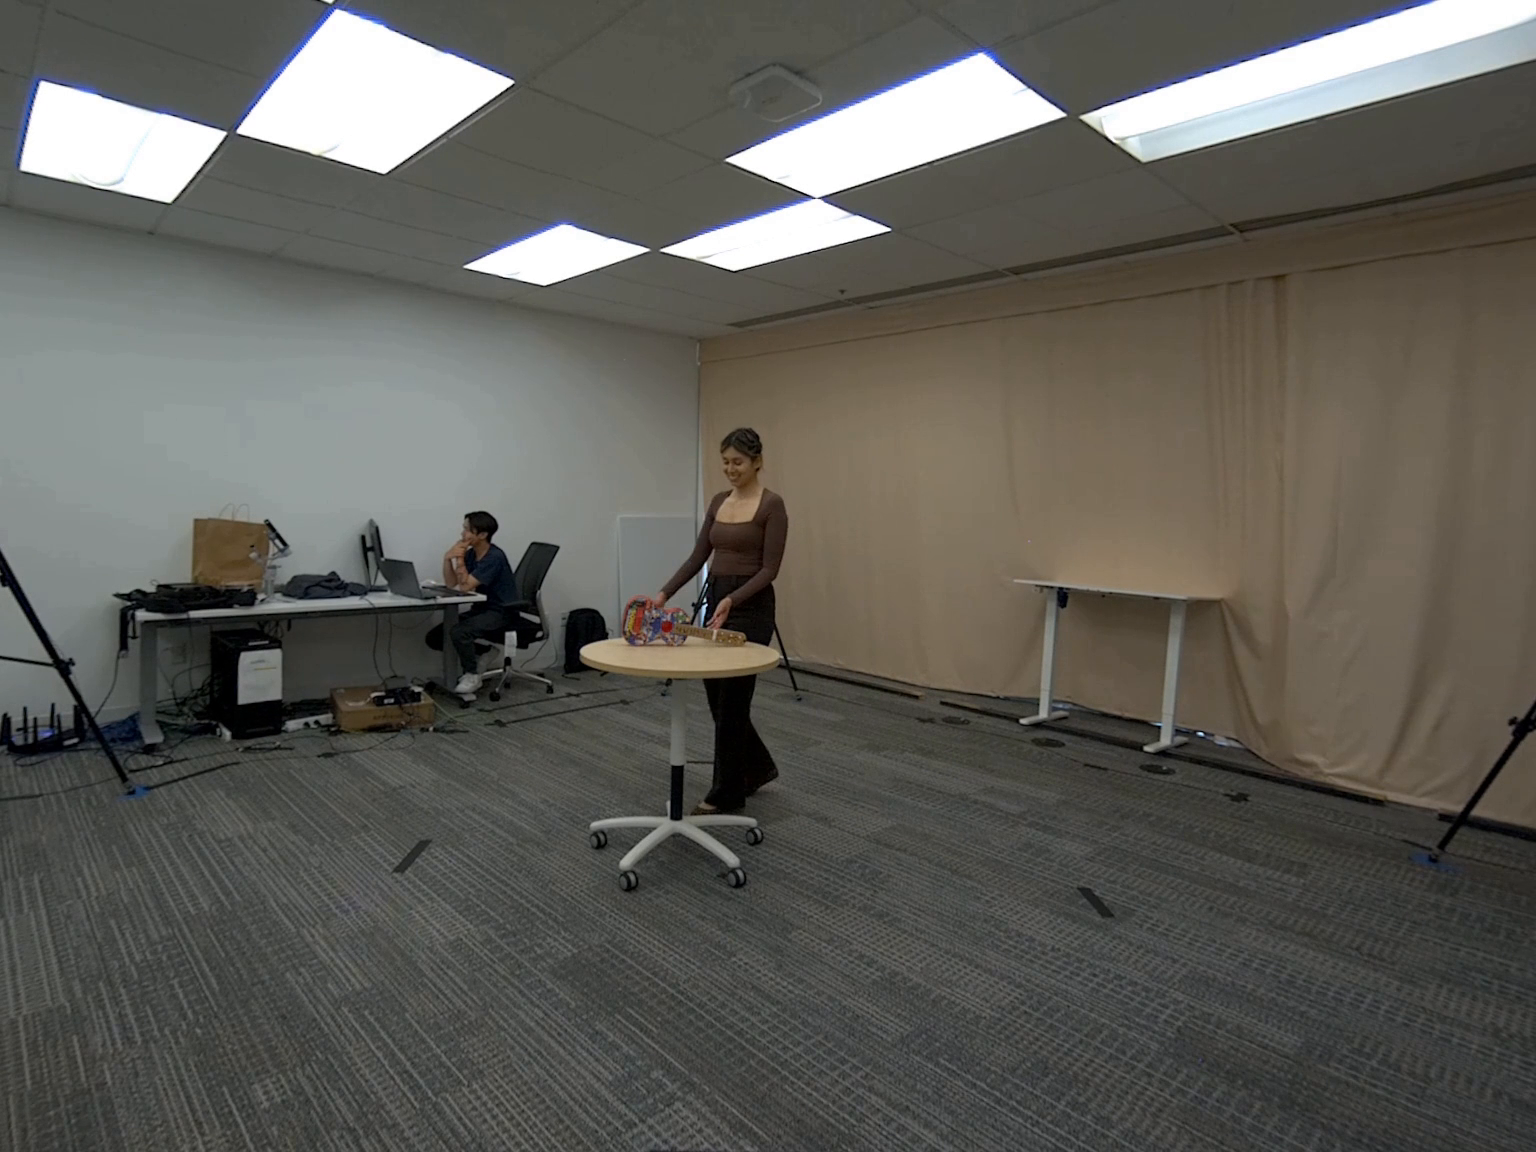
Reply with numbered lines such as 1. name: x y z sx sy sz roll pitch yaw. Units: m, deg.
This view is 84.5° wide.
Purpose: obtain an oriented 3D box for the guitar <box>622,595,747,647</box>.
1. guitar: -0.354 0.238 3.382 0.492 0.193 0.071 19 1 -11
